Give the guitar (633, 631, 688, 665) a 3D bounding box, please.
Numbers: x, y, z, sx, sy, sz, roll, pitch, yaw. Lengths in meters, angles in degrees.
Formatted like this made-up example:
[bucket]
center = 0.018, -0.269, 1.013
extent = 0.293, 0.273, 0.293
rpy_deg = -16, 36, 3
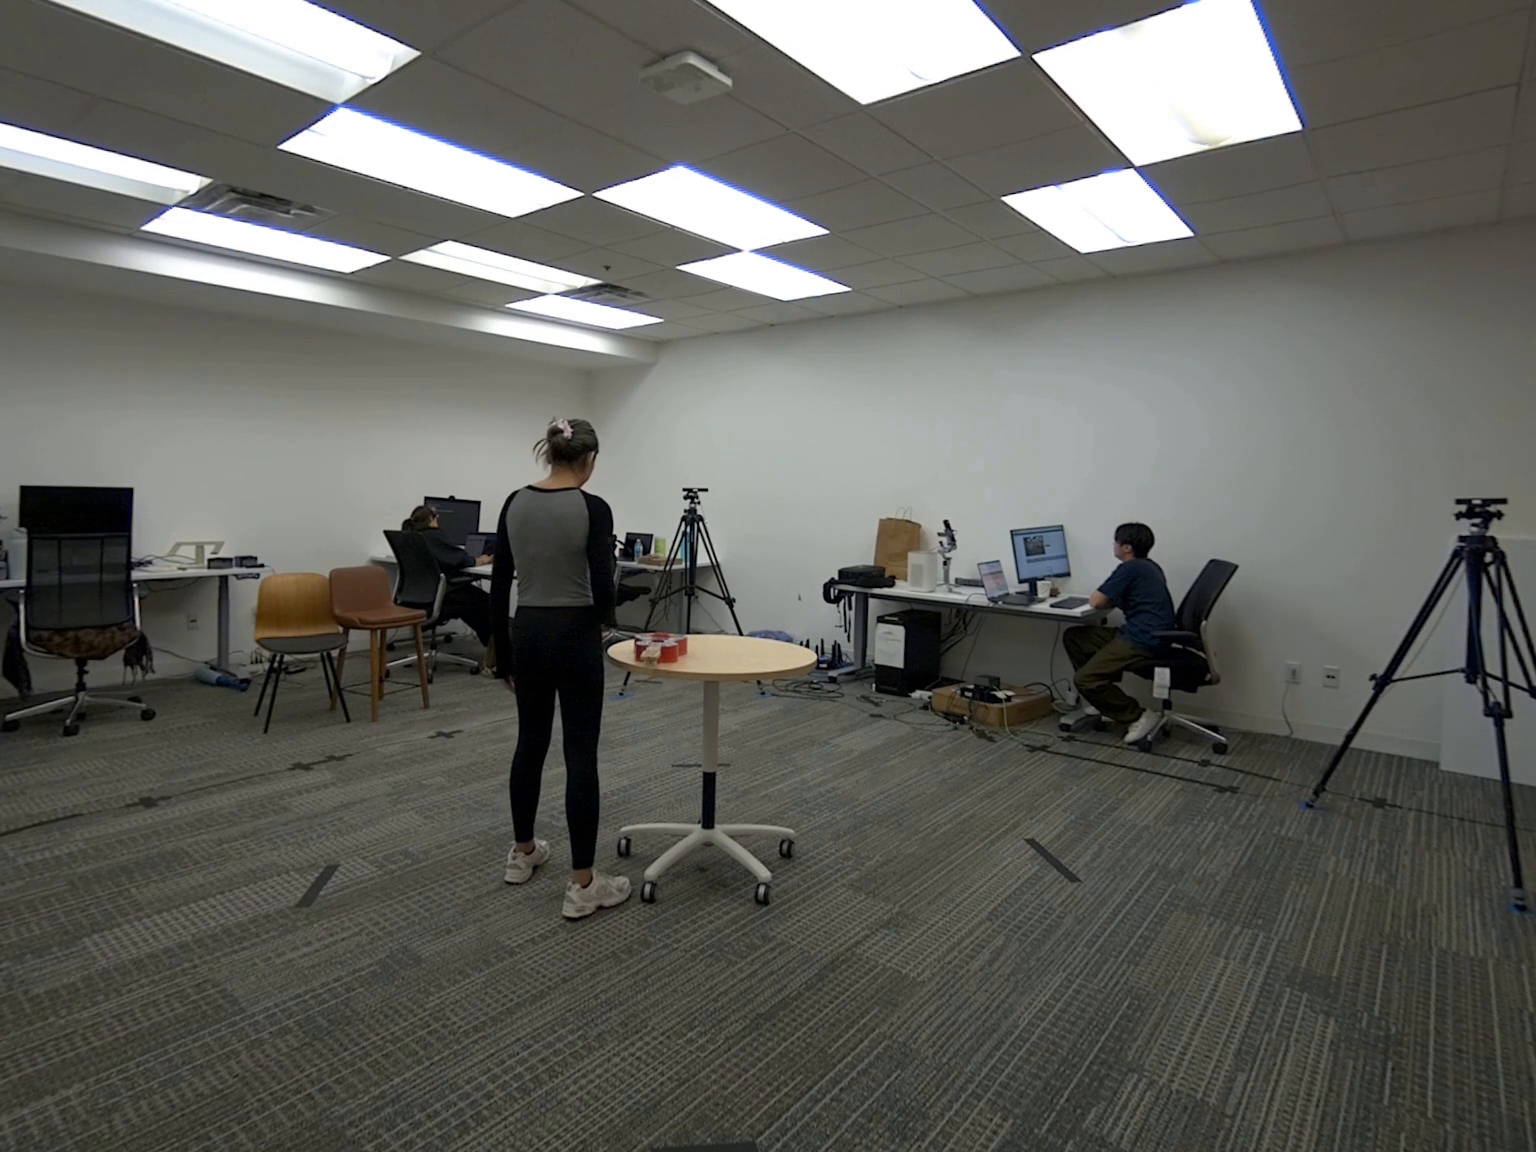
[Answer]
[guitar]
center = -0.419, 0.259, 2.898
extent = 0.195, 0.070, 0.495
rpy_deg = 2, 4, 6
